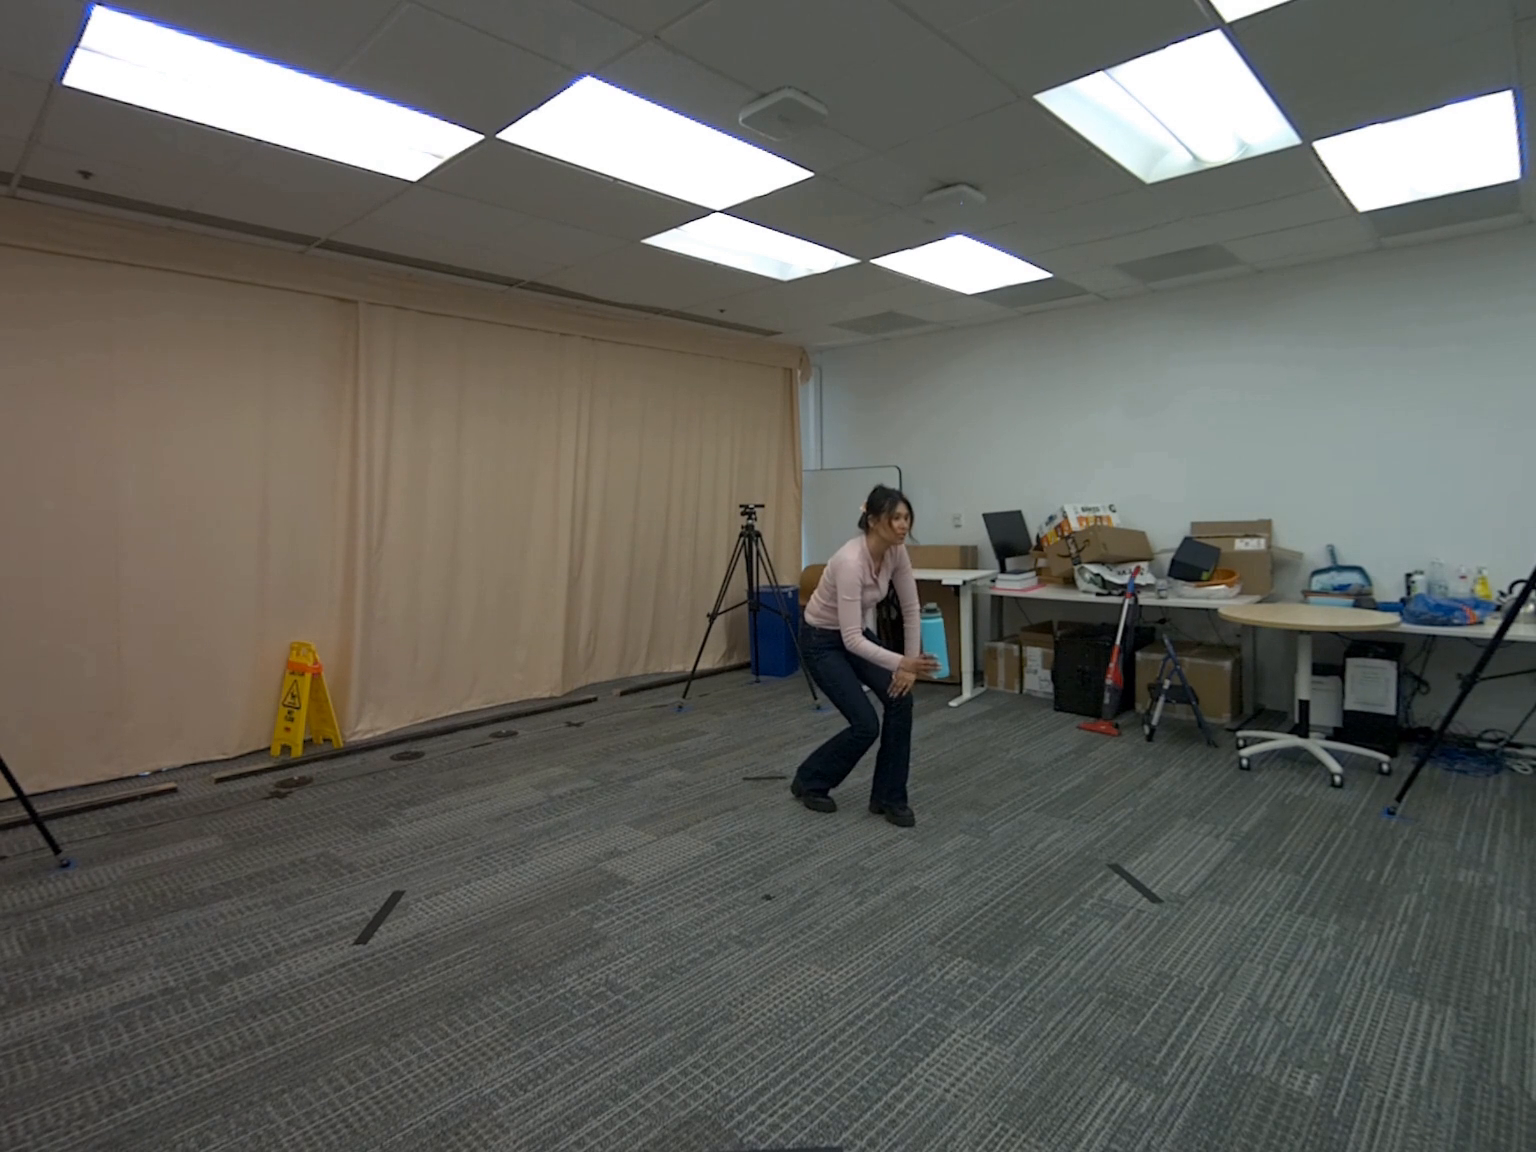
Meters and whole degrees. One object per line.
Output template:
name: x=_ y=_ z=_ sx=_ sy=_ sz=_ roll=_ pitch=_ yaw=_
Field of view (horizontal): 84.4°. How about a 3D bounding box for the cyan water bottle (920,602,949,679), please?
cyan water bottle: x=0.658 y=0.250 z=3.289 sx=0.092 sy=0.283 sz=0.092 roll=-5 pitch=1 yaw=-2
